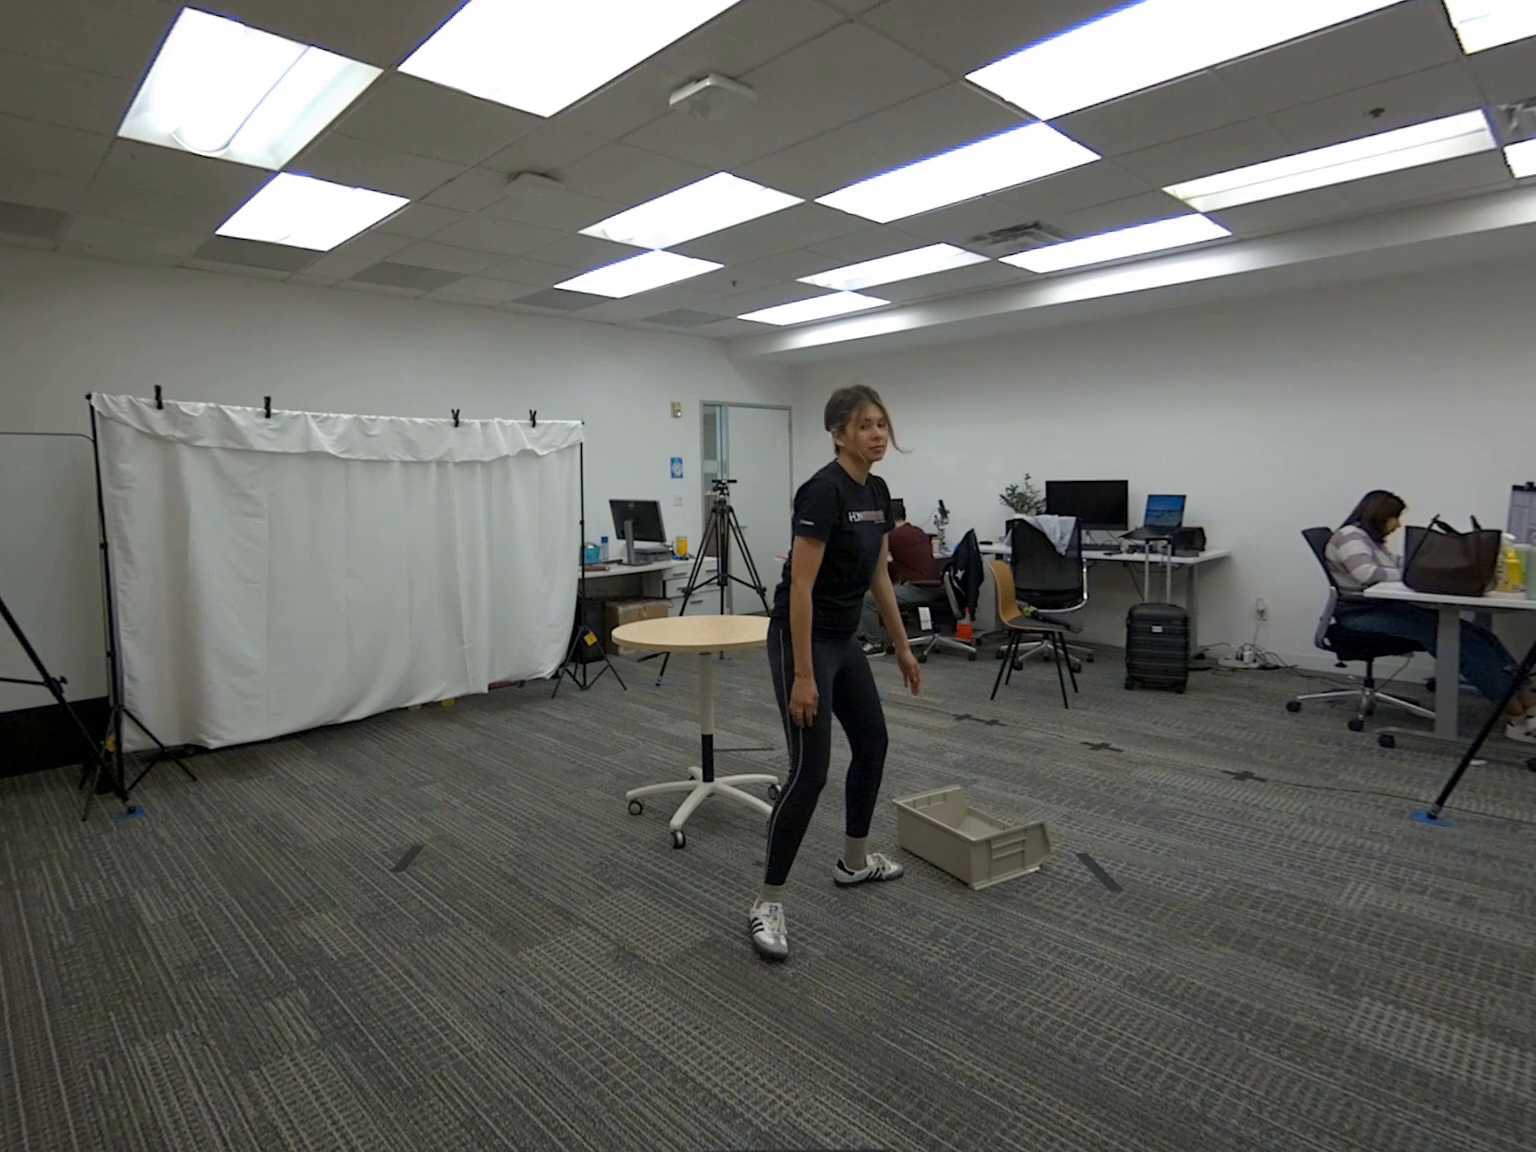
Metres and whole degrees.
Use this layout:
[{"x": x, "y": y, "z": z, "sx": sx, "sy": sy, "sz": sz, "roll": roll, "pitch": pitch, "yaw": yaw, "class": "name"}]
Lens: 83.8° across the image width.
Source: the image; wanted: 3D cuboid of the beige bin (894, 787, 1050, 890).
[{"x": 0.744, "y": 0.944, "z": 3.136, "sx": 0.369, "sy": 0.188, "sz": 0.434, "roll": -5, "pitch": 8, "yaw": -30, "class": "beige bin"}]
